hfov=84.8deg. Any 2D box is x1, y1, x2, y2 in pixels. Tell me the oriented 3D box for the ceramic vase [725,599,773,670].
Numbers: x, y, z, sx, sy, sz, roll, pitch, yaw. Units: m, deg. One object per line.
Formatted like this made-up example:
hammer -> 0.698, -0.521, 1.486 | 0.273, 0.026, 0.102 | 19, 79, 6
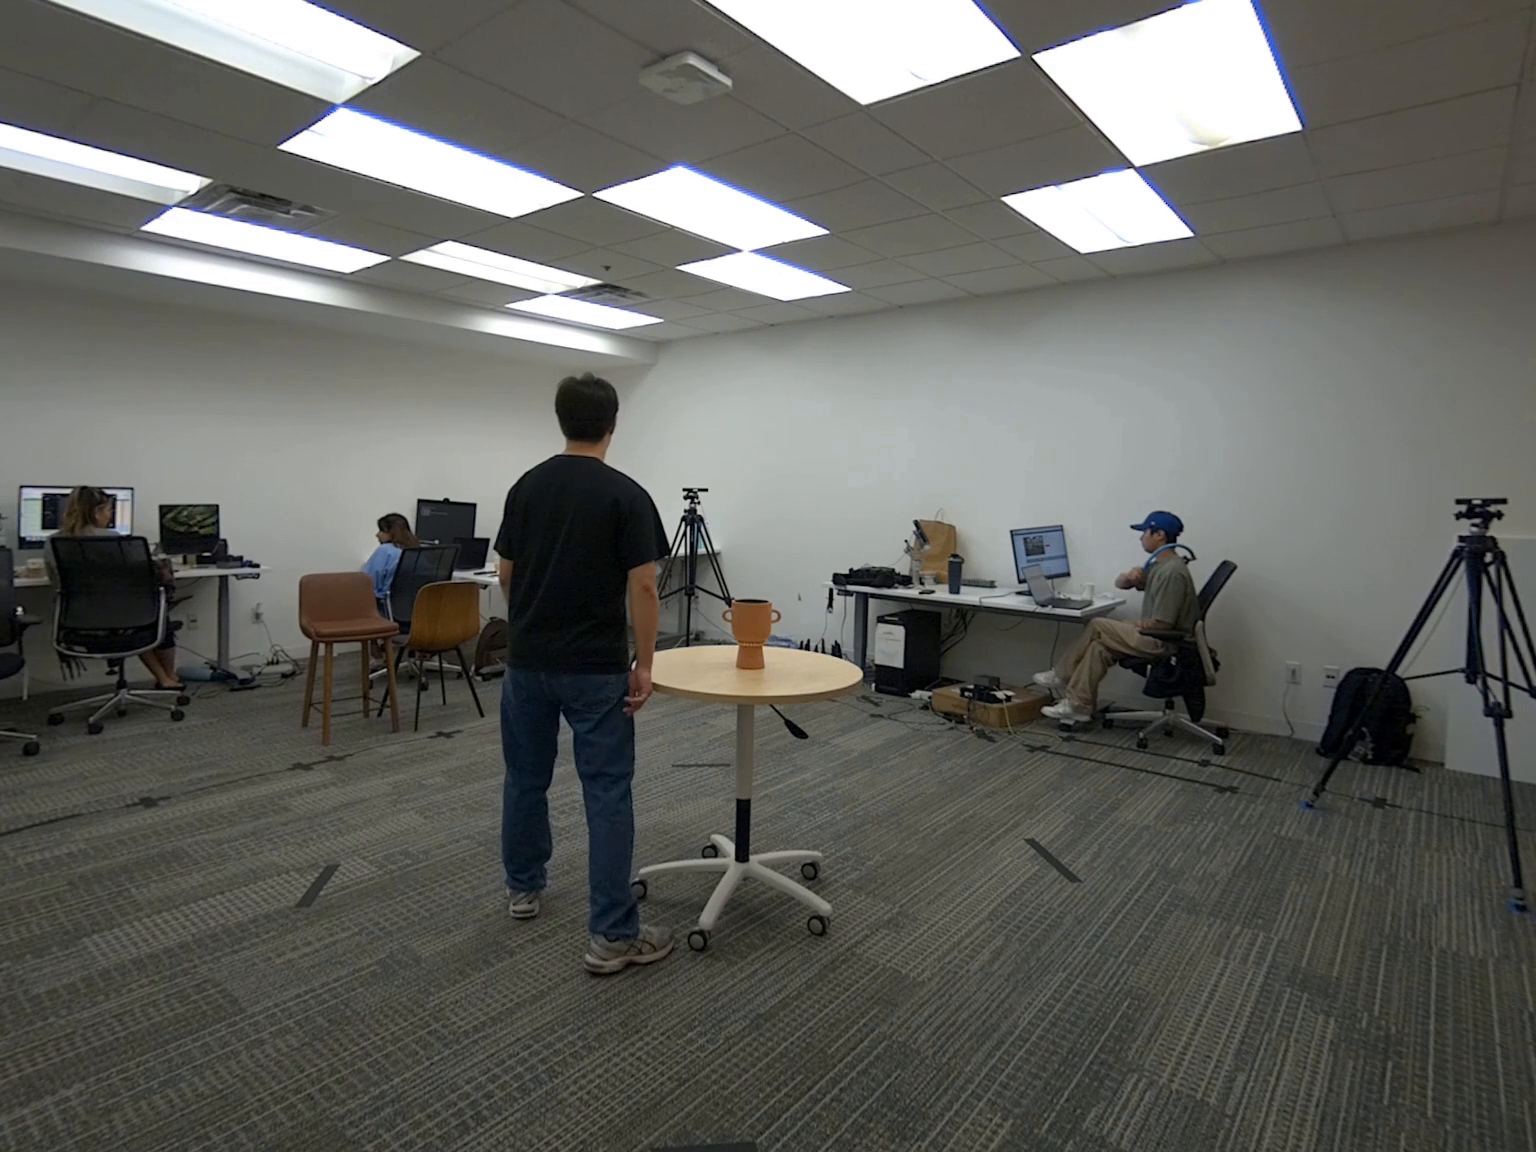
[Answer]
ceramic vase -> -0.068, 0.193, 2.847 | 0.164, 0.219, 0.131 | 4, 5, 31
